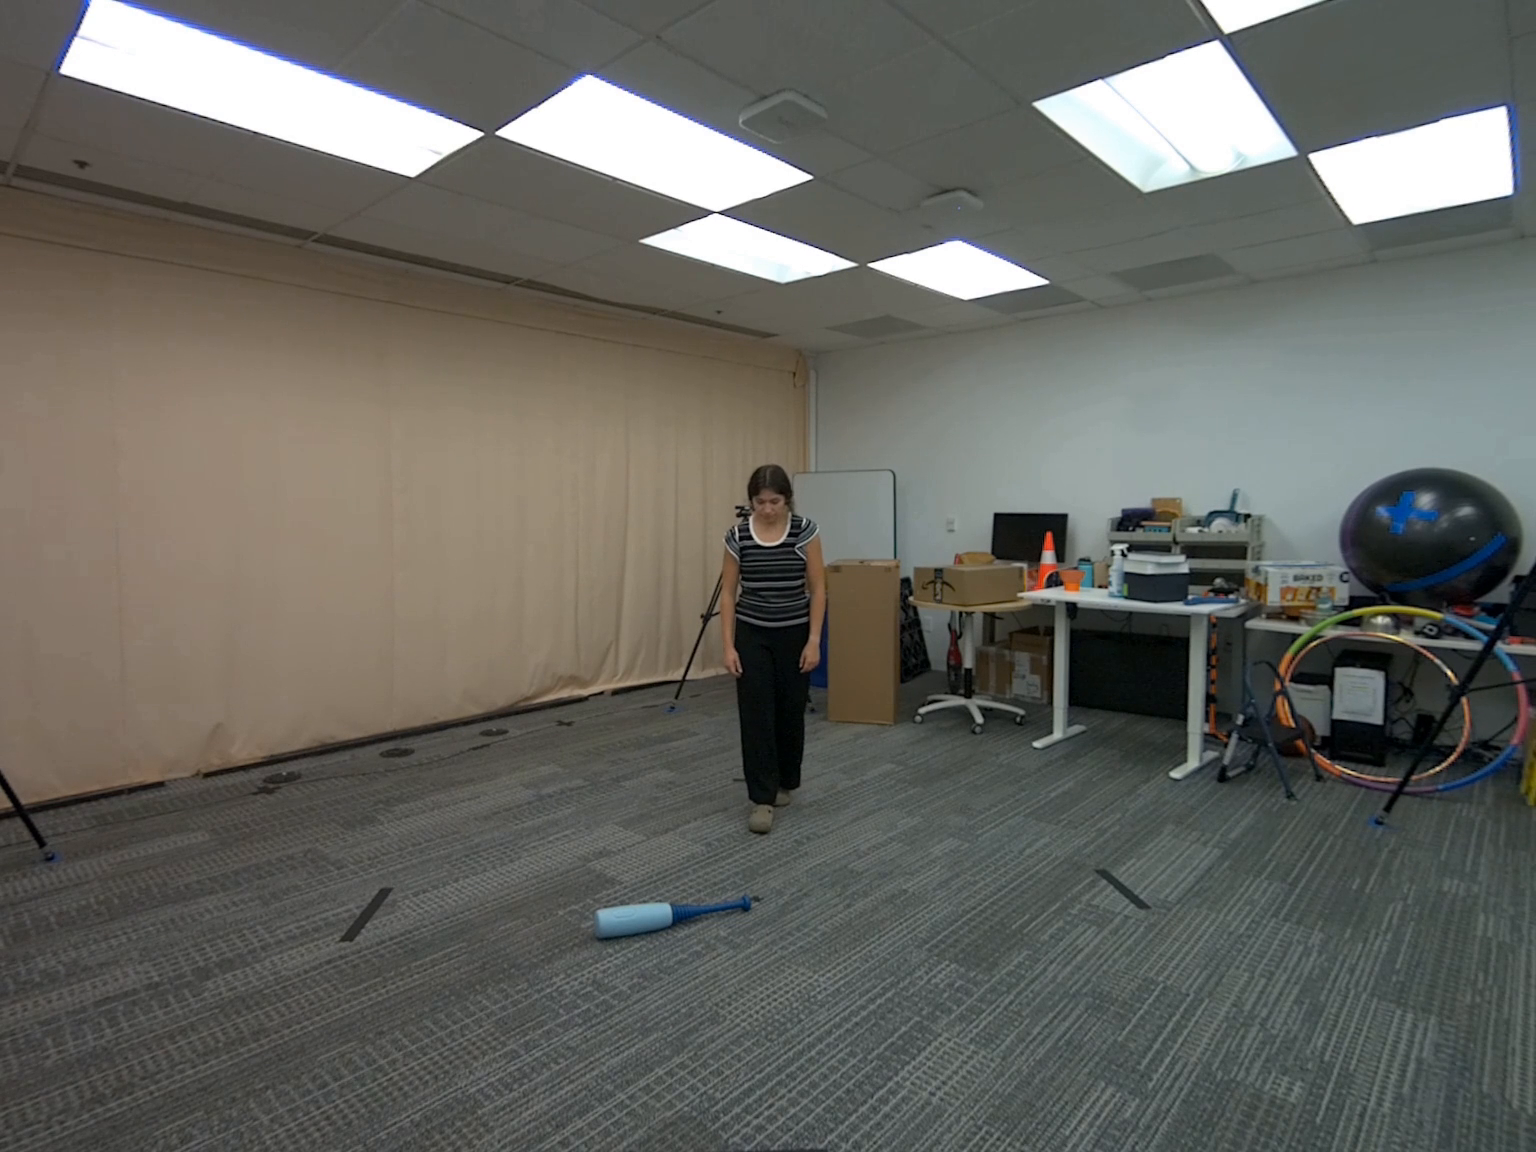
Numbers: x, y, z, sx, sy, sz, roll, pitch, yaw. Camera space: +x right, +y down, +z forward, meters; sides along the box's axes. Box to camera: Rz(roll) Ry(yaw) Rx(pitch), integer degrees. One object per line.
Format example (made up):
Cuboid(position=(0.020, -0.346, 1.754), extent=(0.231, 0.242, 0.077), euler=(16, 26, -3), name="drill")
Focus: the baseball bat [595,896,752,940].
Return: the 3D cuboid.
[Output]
Cuboid(position=(-0.310, 1.128, 2.798), extent=(0.531, 0.089, 0.091), euler=(1, 3, -21), name="baseball bat")
